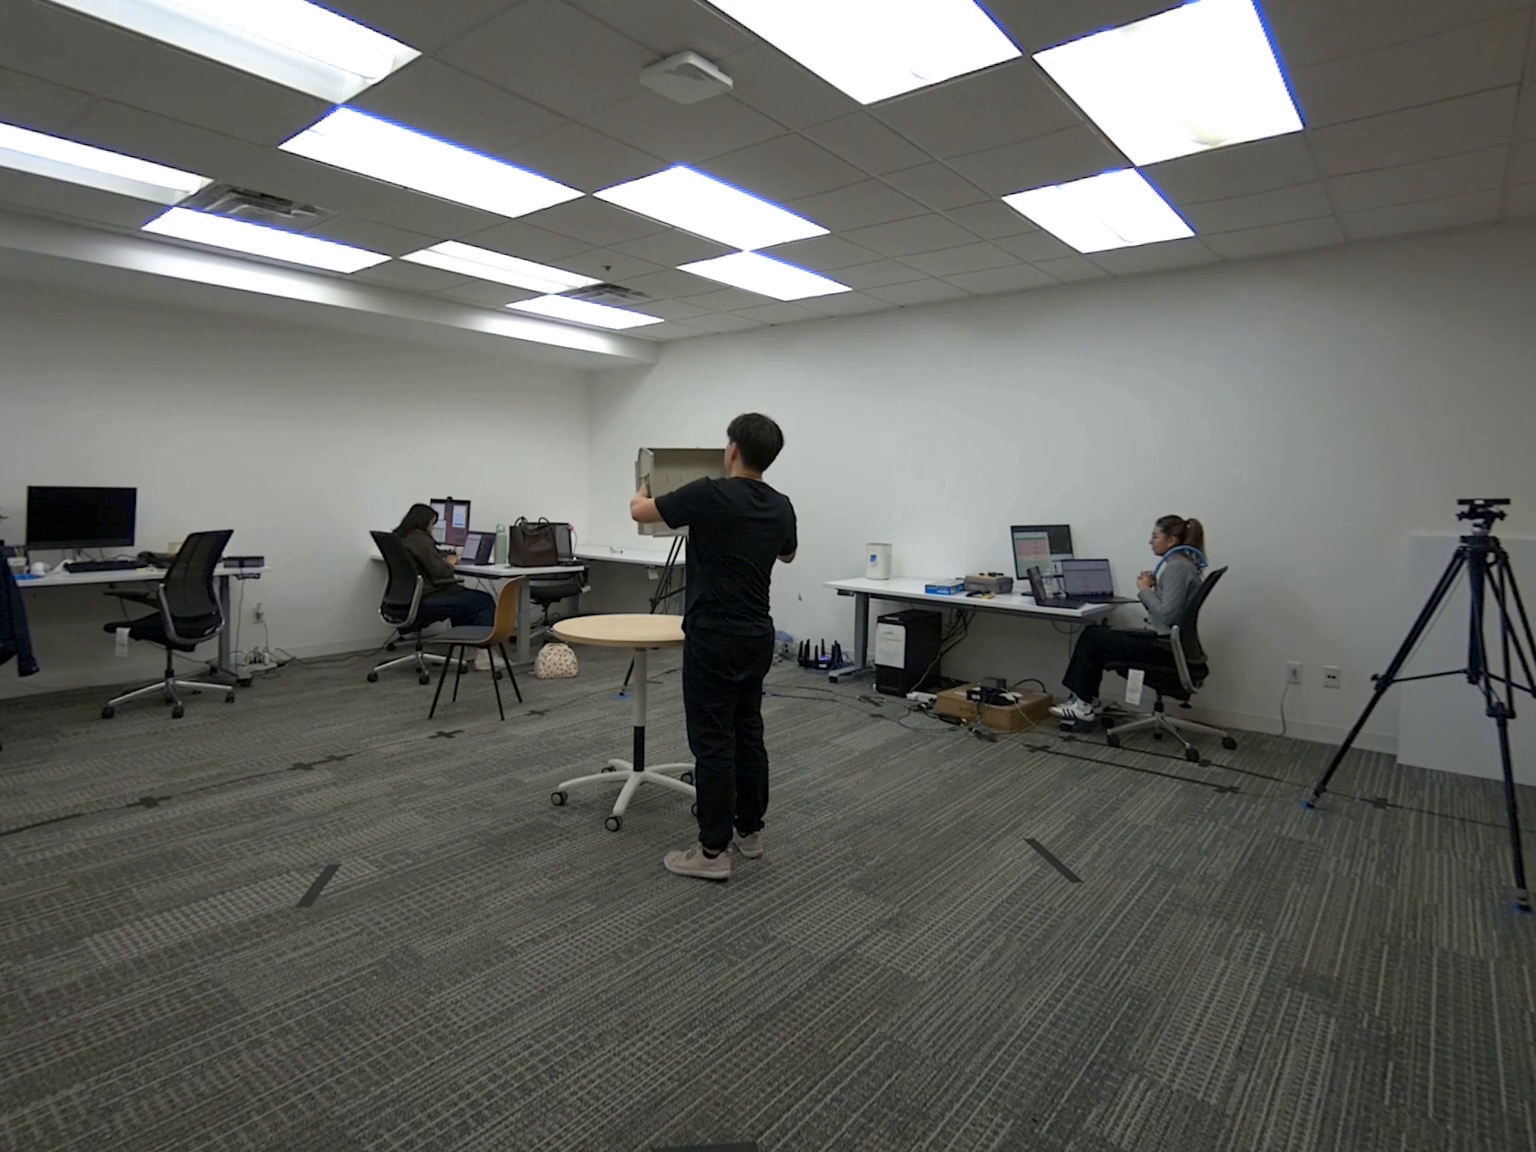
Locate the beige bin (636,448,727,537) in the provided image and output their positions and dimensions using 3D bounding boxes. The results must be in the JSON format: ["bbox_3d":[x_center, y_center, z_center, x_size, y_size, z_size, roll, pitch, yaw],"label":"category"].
[{"bbox_3d":[-0.339,-0.356,3.575,0.412,0.377,0.194,-4,2,-28],"label":"beige bin"}]
